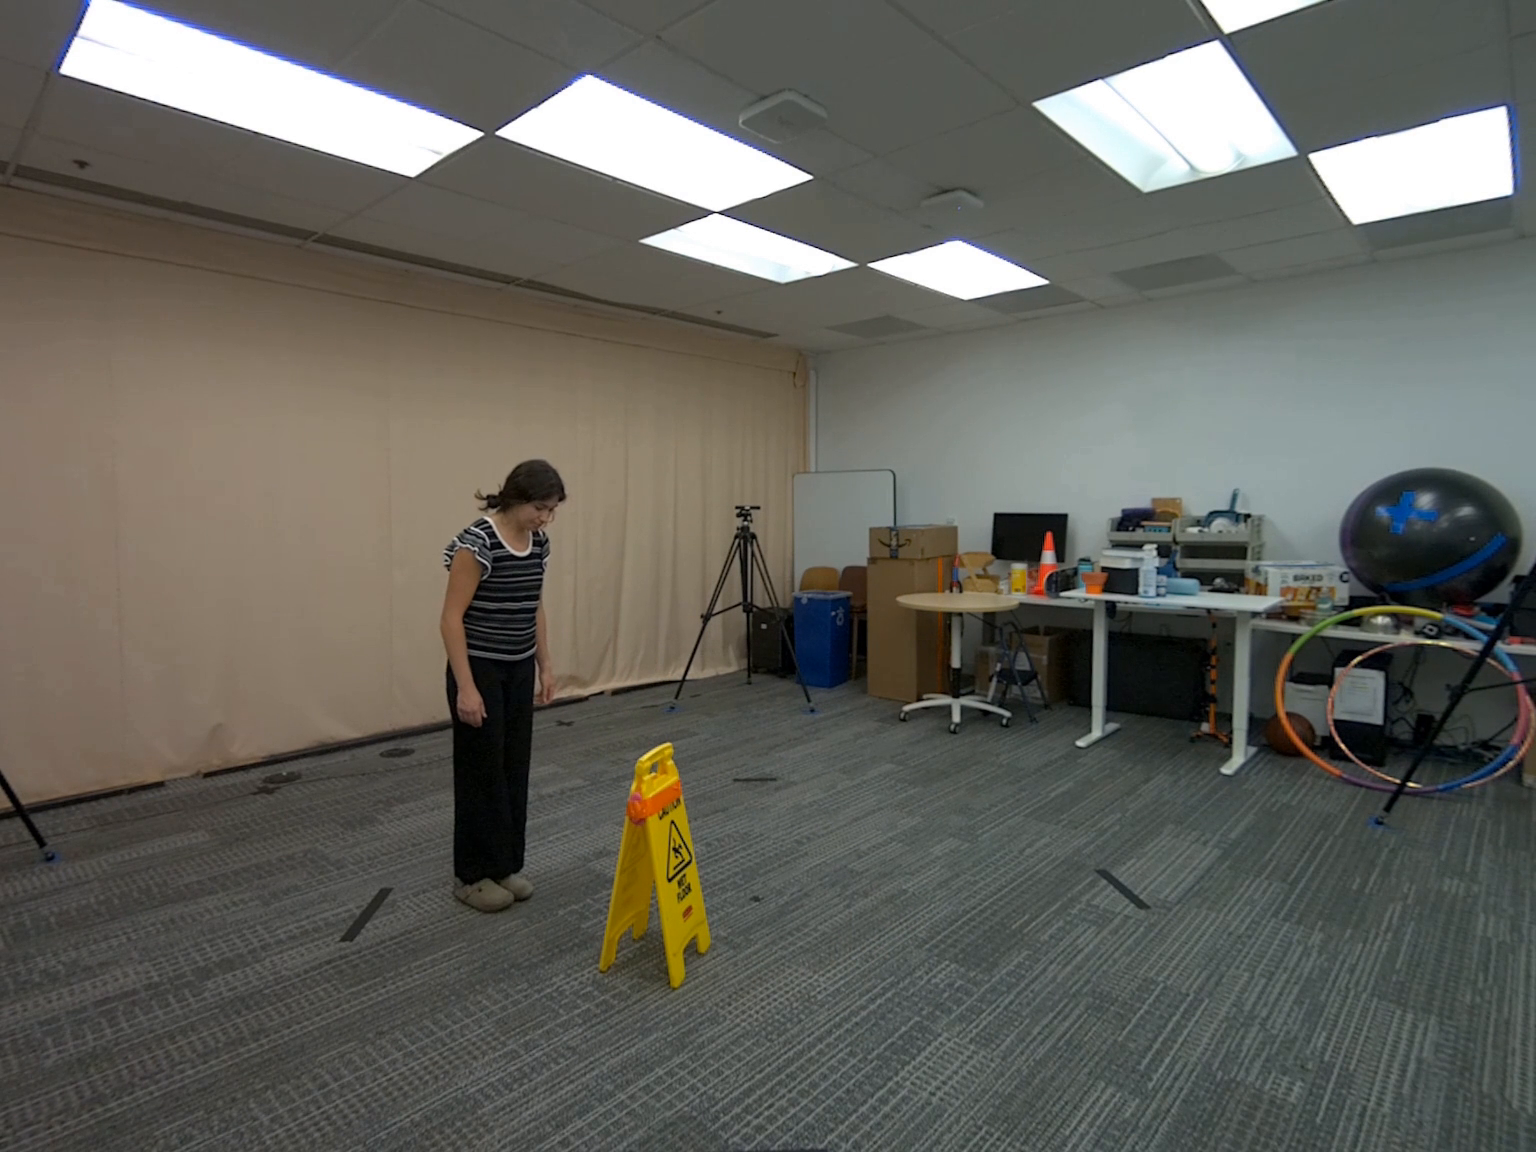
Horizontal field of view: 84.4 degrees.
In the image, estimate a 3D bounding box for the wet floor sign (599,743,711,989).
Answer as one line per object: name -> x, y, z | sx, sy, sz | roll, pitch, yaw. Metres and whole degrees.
wet floor sign -> -0.348, 0.857, 2.579 | 0.296, 0.645, 0.276 | 0, 2, 21
